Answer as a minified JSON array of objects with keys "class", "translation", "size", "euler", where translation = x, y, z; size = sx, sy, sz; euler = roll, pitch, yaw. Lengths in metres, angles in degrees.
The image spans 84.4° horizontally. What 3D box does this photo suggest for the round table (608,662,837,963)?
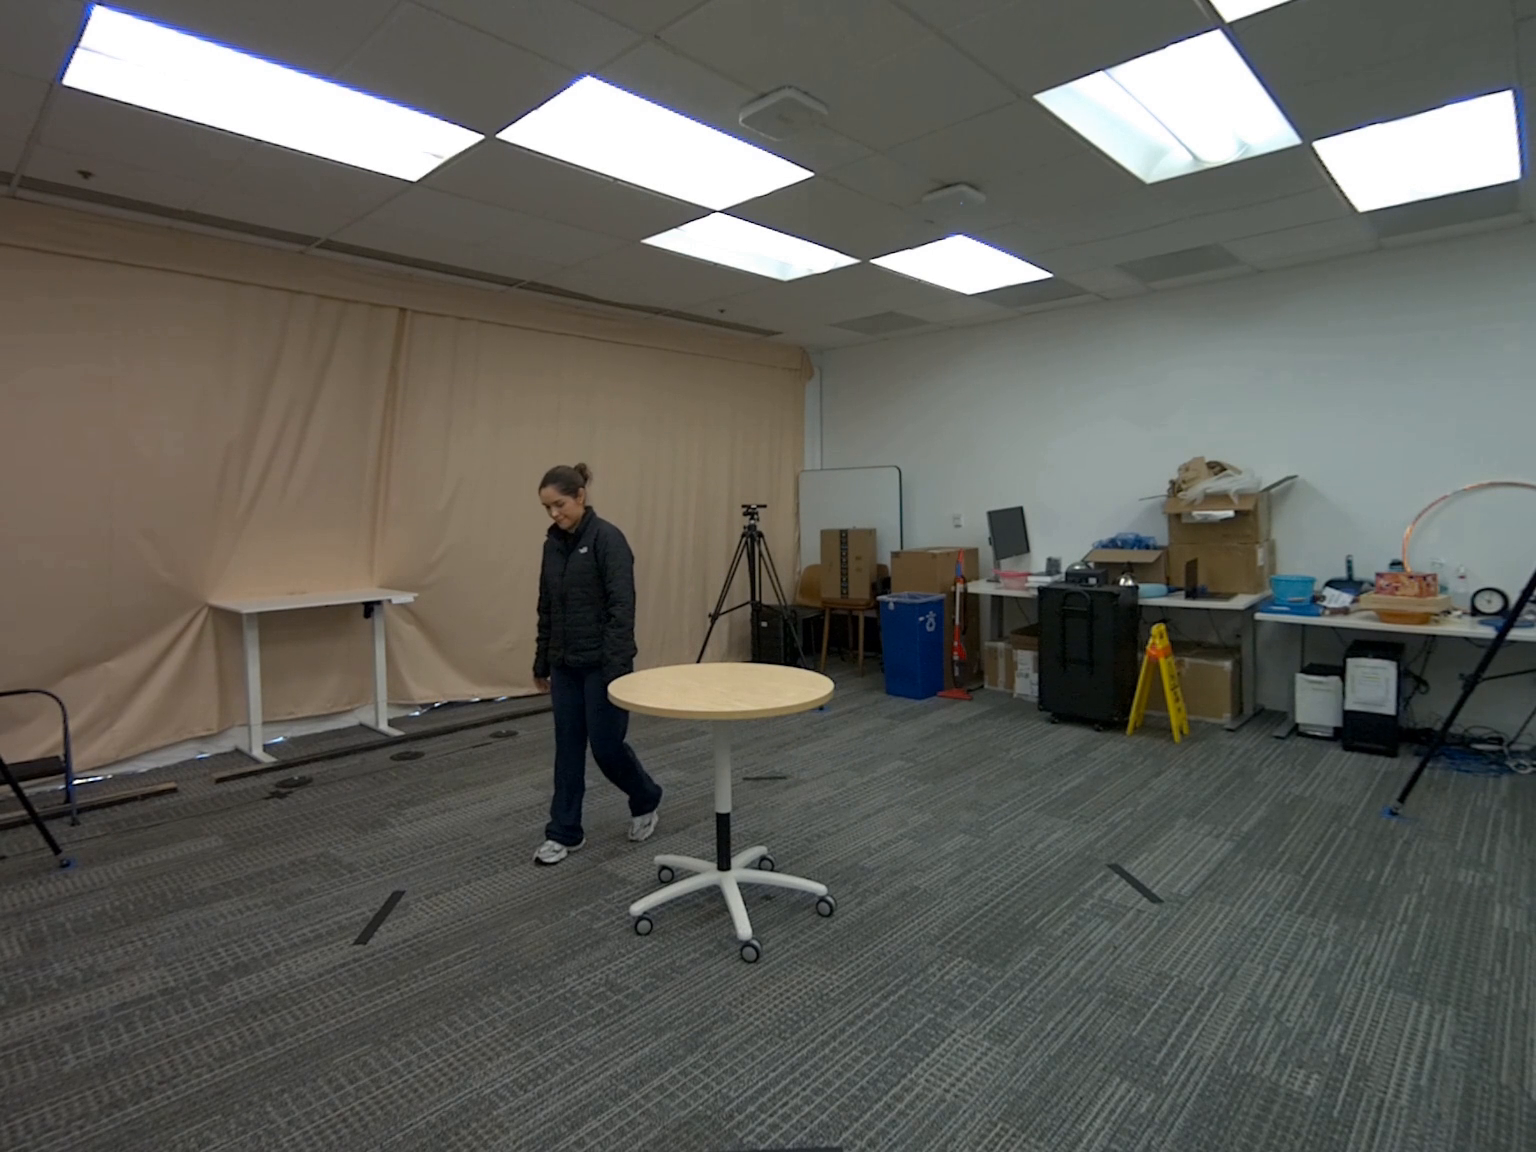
[{"class":"round table","translation":[-0.142,0.756,2.902],"size":[0.784,0.785,0.788],"euler":[-1,4,-2]}]
